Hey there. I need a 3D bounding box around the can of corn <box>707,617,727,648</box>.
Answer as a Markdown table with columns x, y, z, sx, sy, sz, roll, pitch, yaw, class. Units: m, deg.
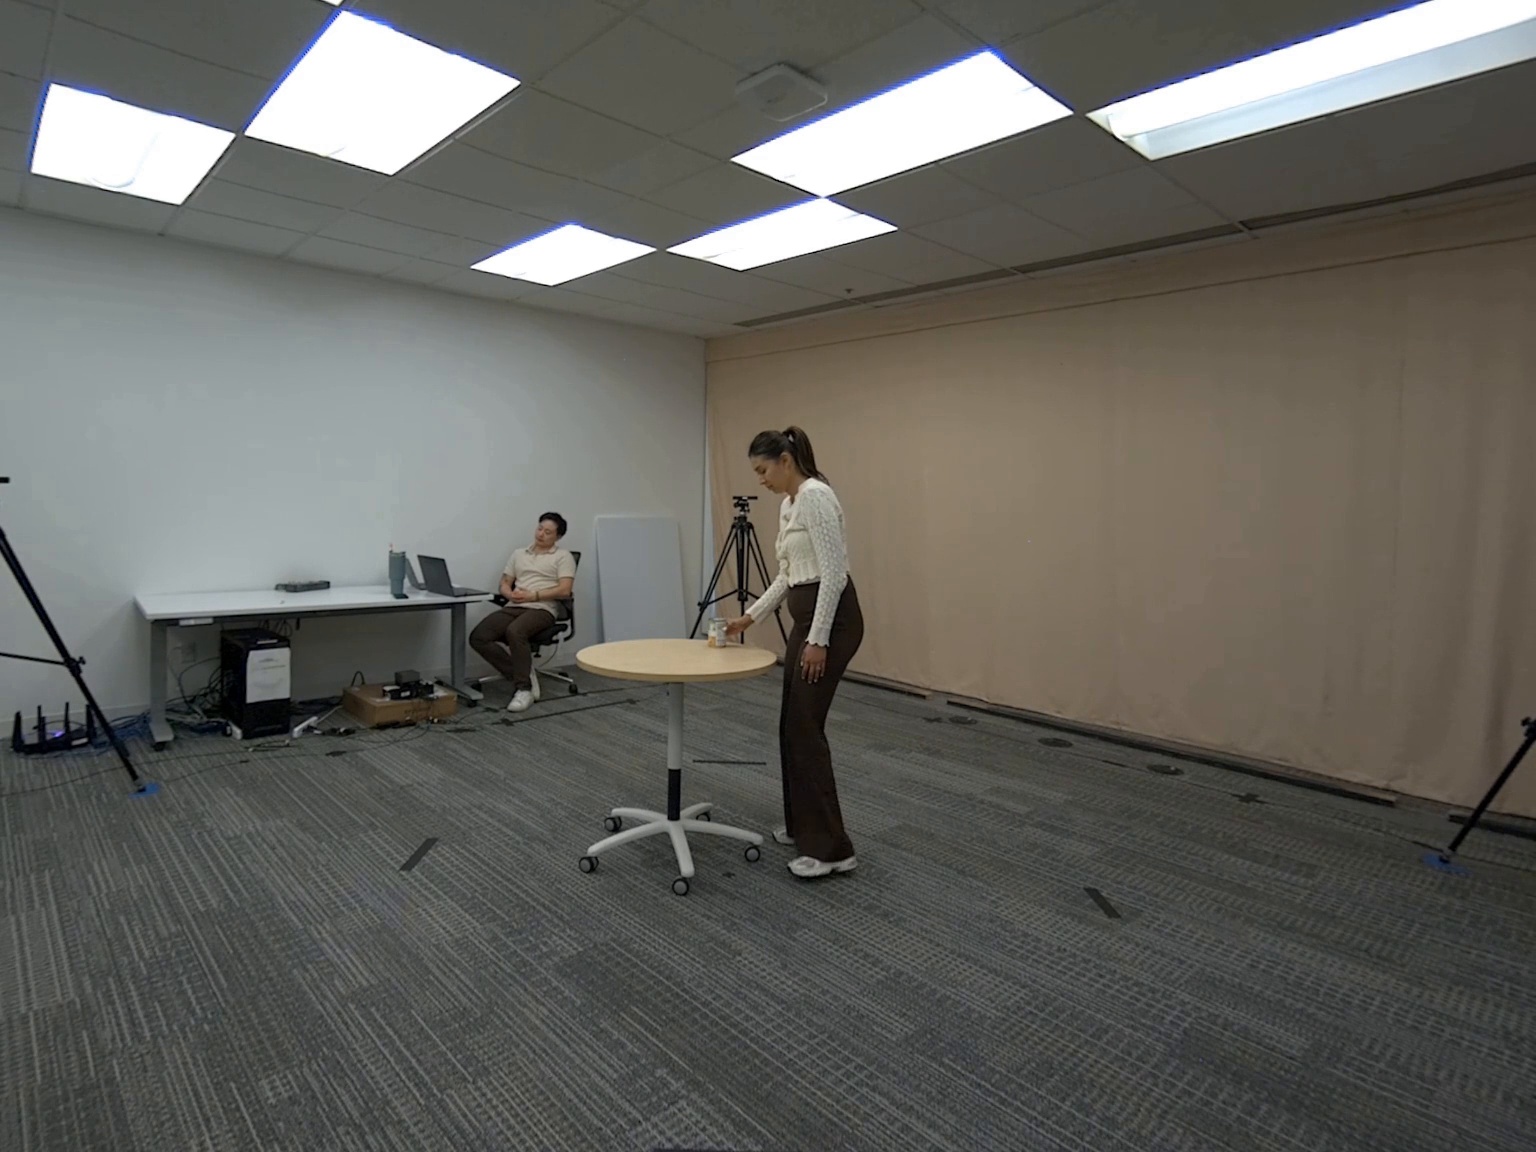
| x | y | z | sx | sy | sz | roll | pitch | yaw | class |
| --- | --- | --- | --- | --- | --- | --- | --- | --- | --- |
| -0.209 | 0.234 | 3.449 | 0.074 | 0.110 | 0.074 | 3 | 6 | -2 | can of corn |
